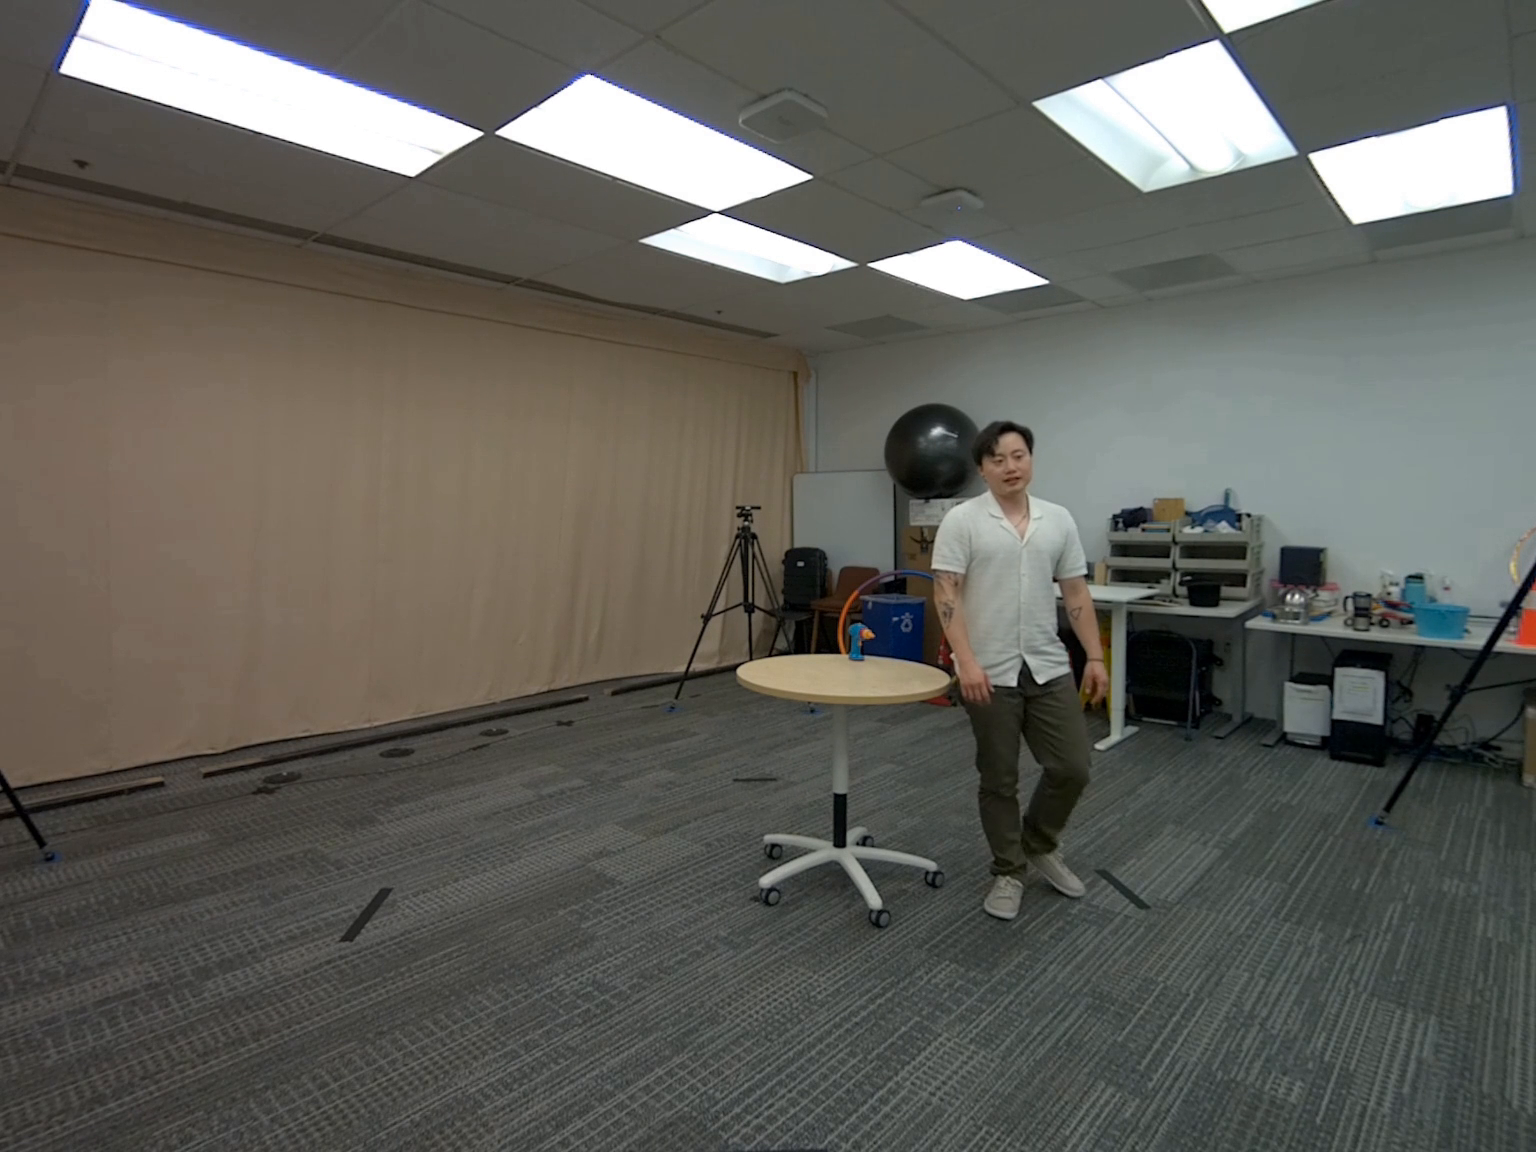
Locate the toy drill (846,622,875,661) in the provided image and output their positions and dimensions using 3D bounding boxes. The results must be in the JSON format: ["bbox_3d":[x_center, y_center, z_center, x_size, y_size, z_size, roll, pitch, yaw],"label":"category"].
[{"bbox_3d":[0.365,0.261,3.283,0.060,0.146,0.174,-1,4,-26],"label":"toy drill"}]
